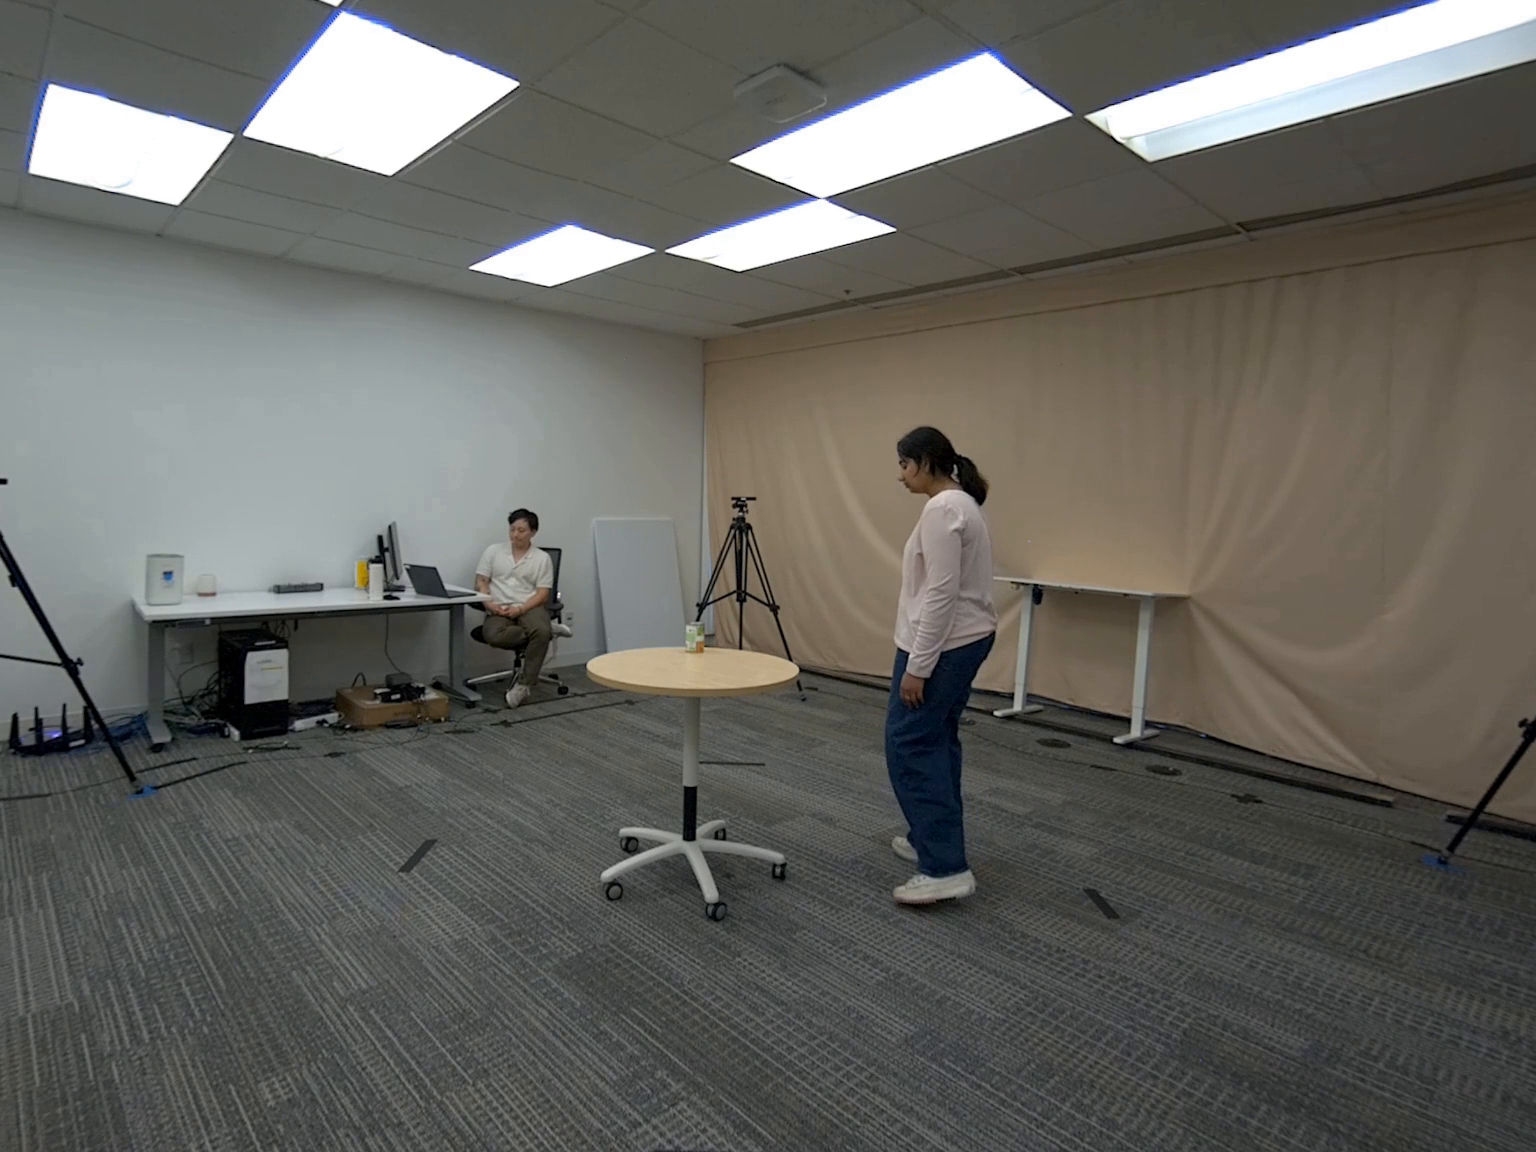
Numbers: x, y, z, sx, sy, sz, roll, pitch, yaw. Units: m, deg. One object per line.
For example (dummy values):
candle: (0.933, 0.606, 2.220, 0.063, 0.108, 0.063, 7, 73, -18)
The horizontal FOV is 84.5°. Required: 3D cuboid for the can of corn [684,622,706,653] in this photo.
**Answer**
can of corn: (-0.290, 0.241, 3.324, 0.074, 0.111, 0.074, 2, 3, -1)
